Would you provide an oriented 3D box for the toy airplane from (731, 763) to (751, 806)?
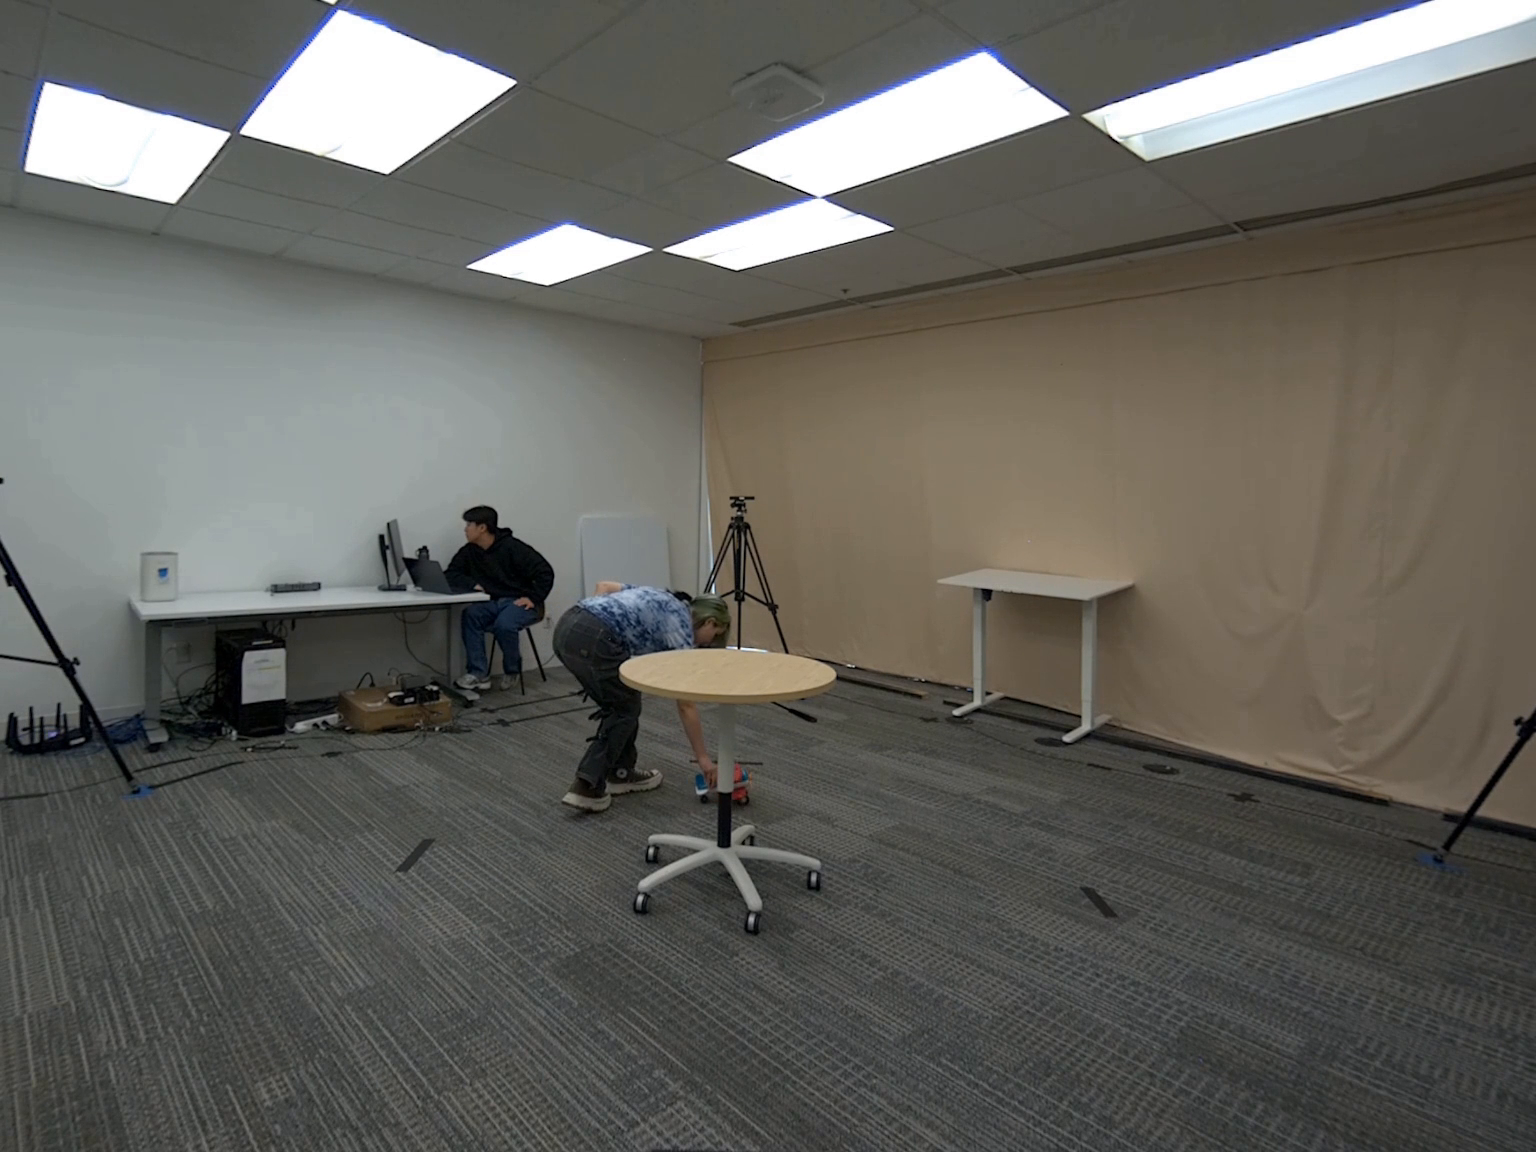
[{"bbox_3d":[-0.211,0.964,3.855,0.254,0.156,0.257,0,5,-32],"label":"toy airplane"}]
